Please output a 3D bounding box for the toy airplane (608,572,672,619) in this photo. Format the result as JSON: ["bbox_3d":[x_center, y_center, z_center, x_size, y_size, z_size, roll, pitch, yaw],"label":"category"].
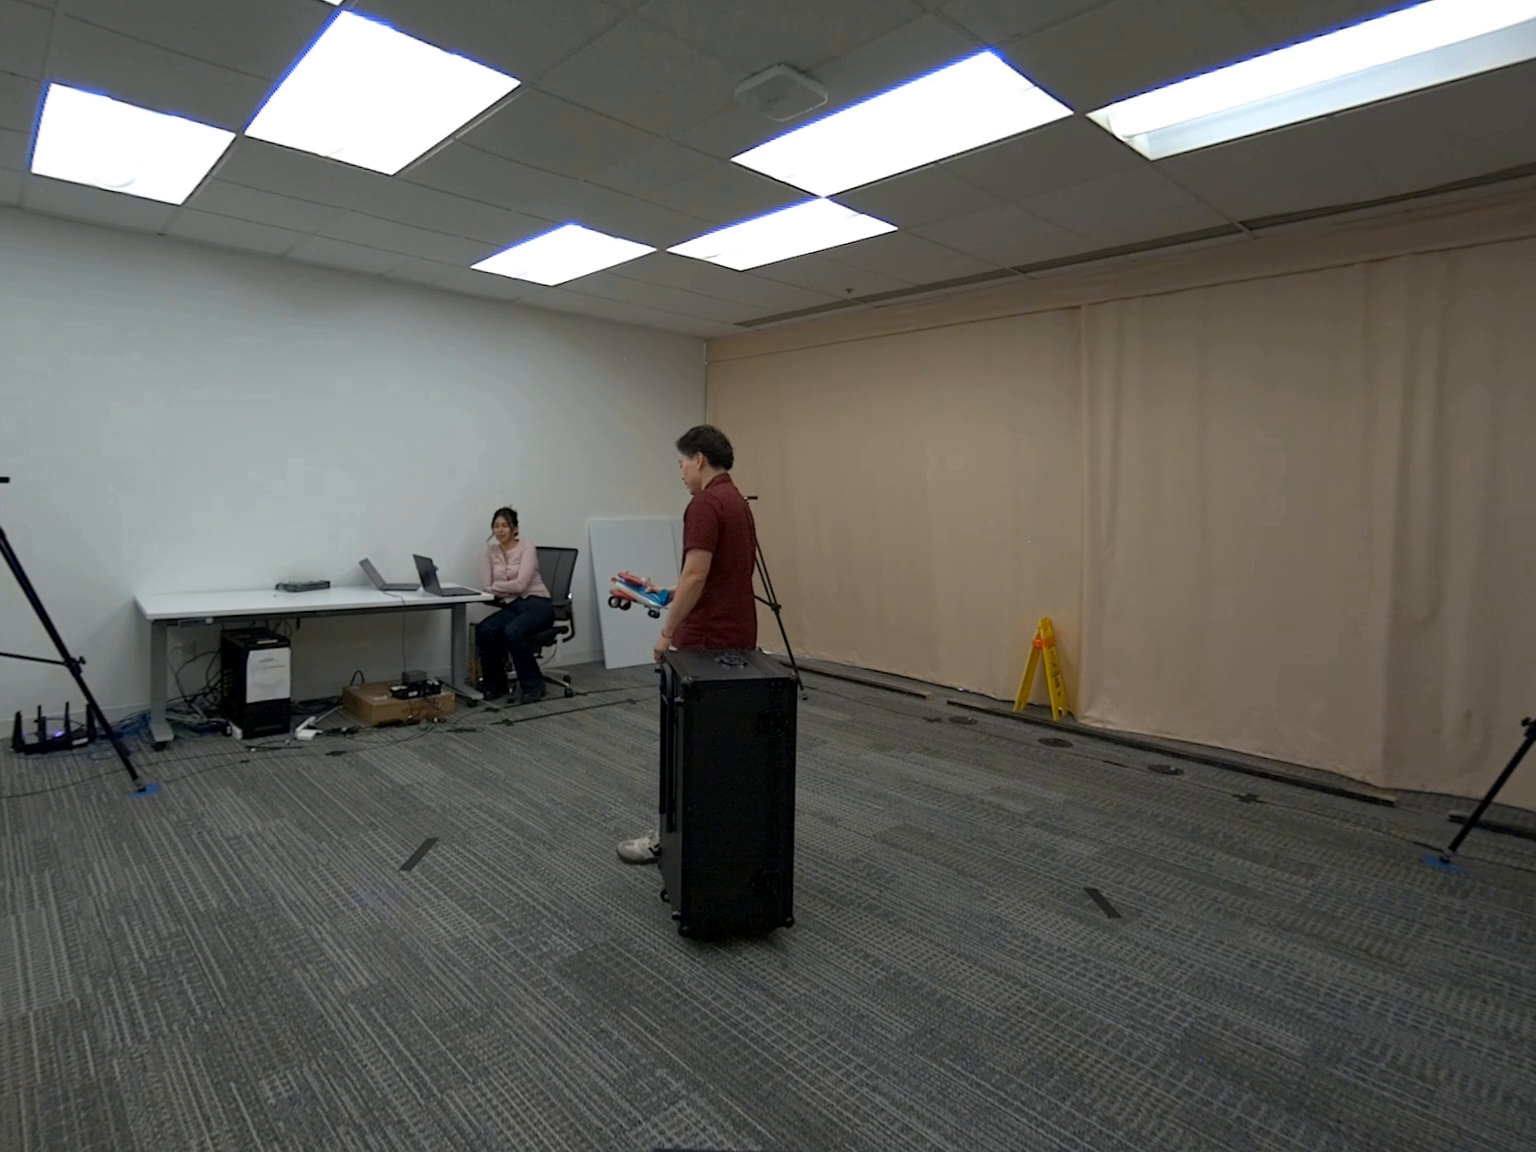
[{"bbox_3d":[-0.548,0.083,3.604,0.258,0.157,0.251,14,-4,-5],"label":"toy airplane"}]
